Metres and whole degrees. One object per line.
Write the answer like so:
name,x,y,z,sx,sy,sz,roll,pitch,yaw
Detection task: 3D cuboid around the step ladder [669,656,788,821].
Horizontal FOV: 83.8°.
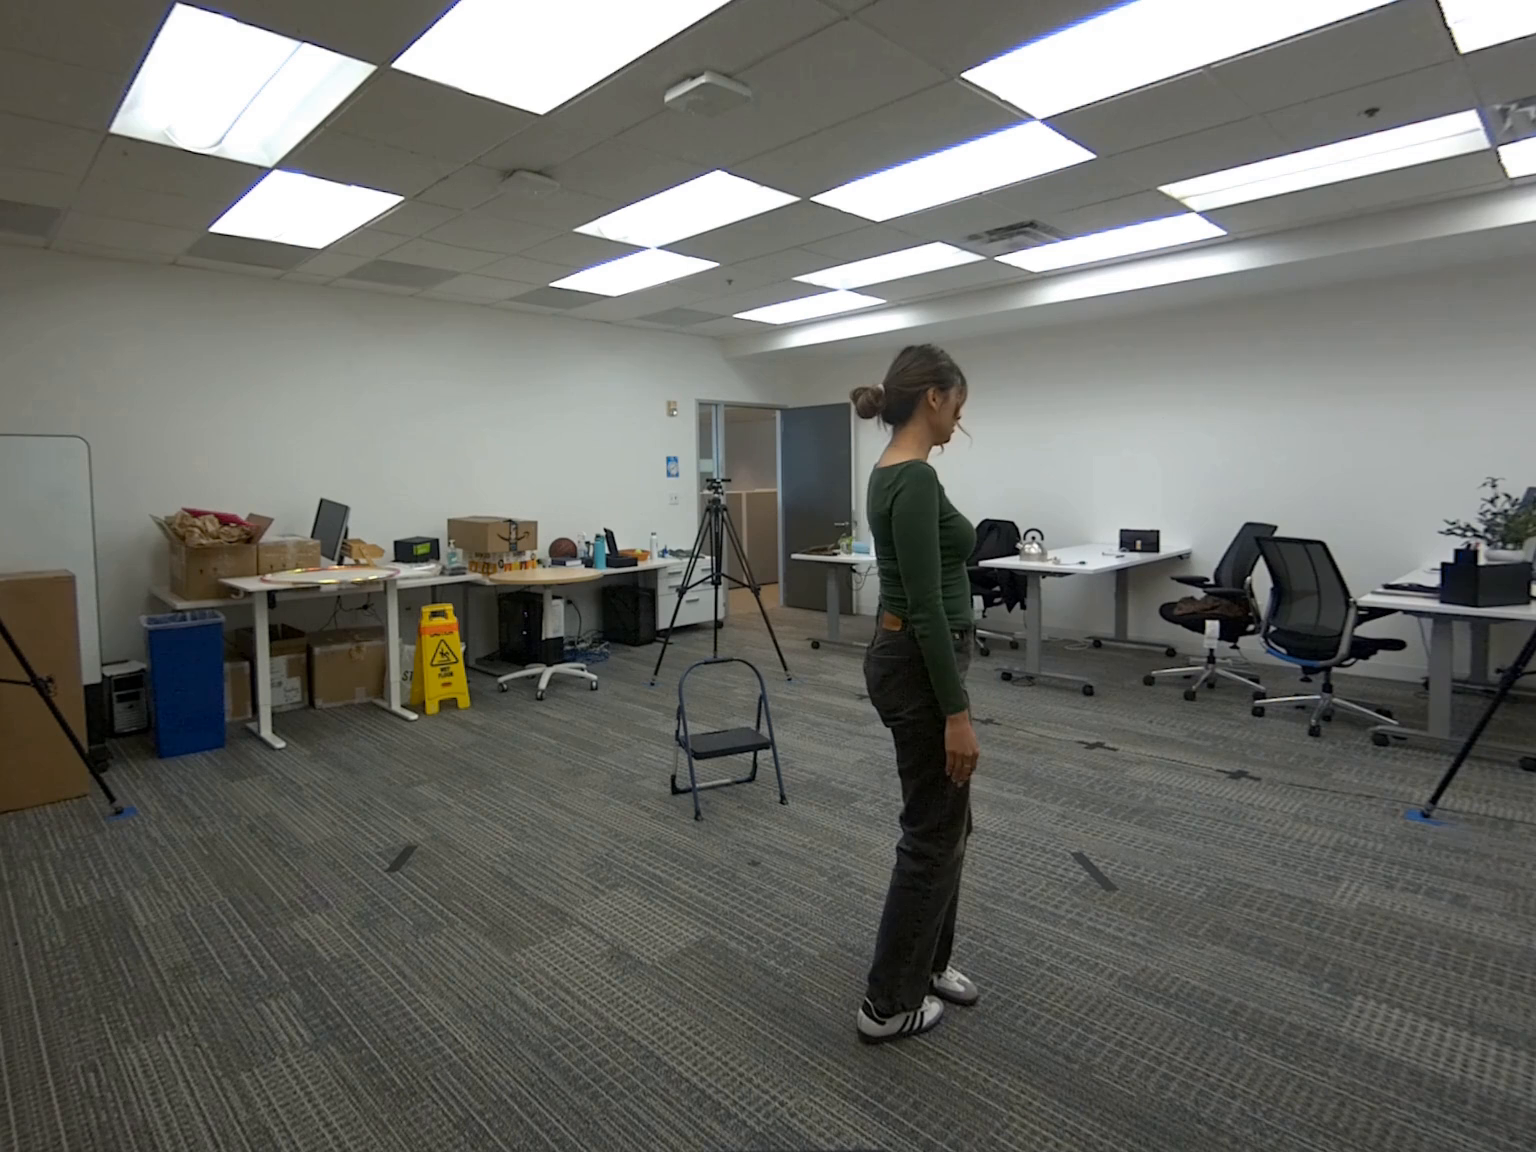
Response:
step ladder,-0.184,0.673,3.726,0.421,0.604,0.358,-3,4,-25
